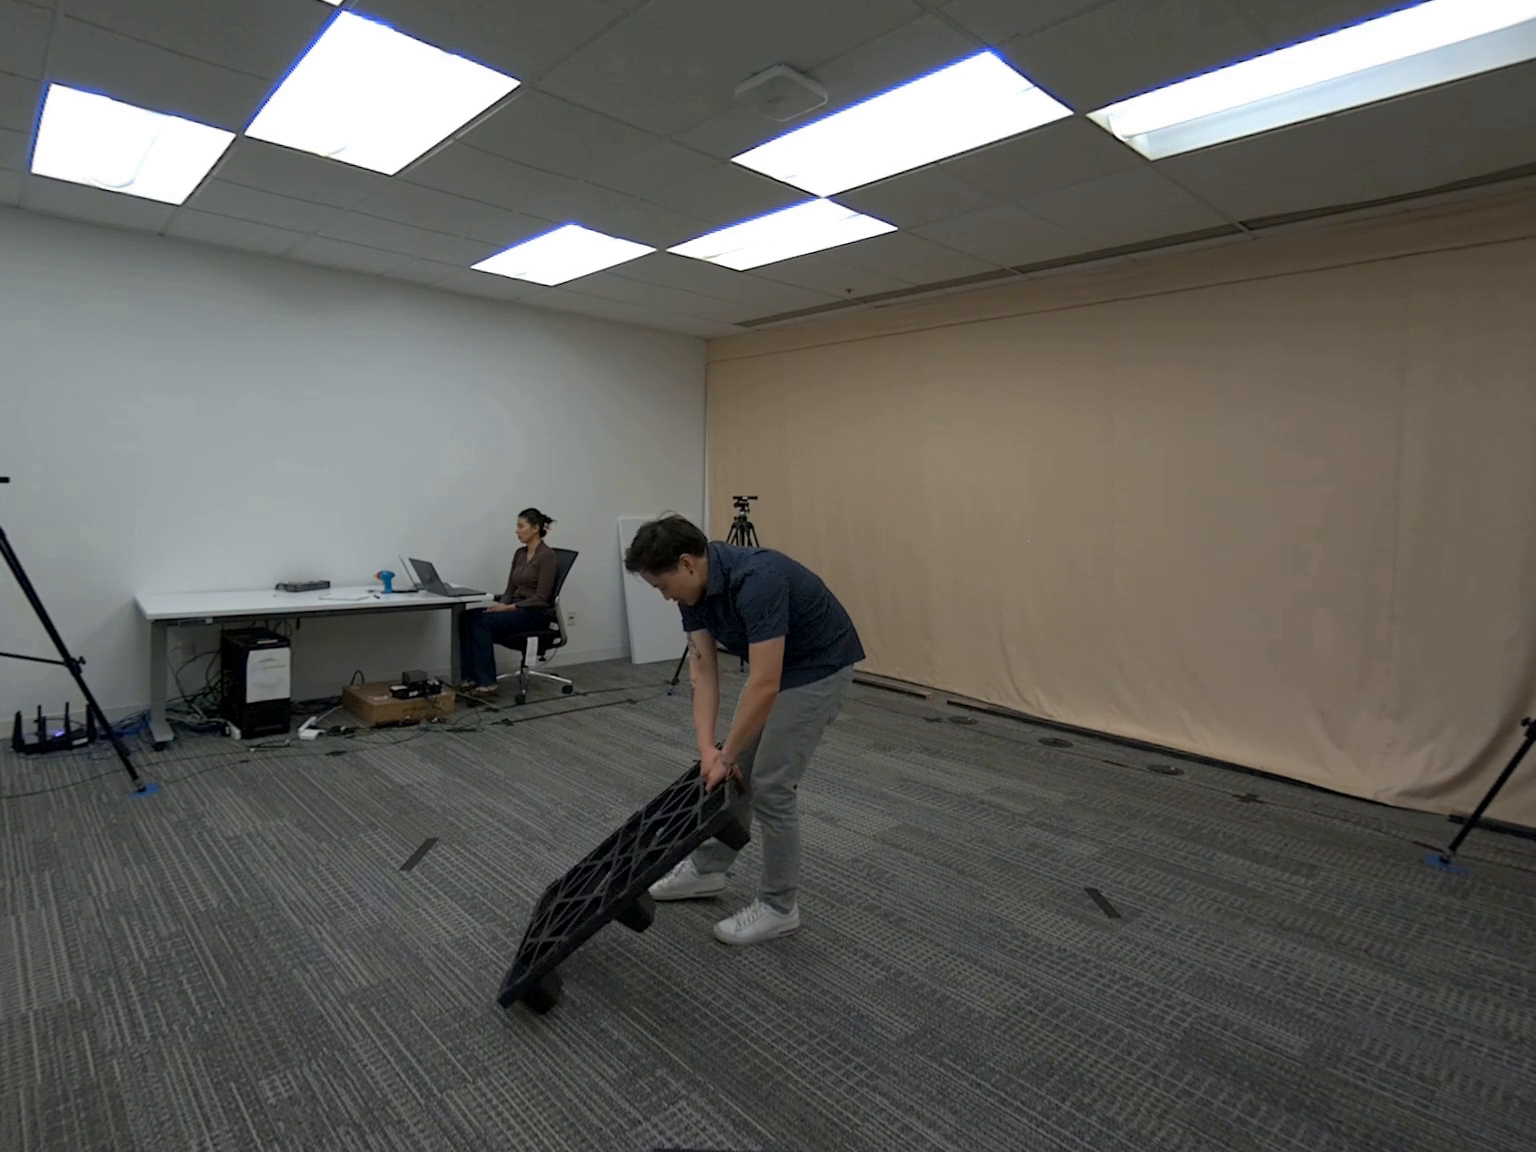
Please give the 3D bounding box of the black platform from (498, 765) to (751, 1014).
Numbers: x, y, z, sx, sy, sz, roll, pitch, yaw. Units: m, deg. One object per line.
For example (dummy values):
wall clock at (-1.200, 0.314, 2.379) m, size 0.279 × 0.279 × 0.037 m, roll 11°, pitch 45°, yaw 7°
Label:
black platform at (-0.389, 0.864, 2.457) m, size 0.805 × 0.142 × 0.609 m, roll -41°, pitch 8°, yaw 1°
